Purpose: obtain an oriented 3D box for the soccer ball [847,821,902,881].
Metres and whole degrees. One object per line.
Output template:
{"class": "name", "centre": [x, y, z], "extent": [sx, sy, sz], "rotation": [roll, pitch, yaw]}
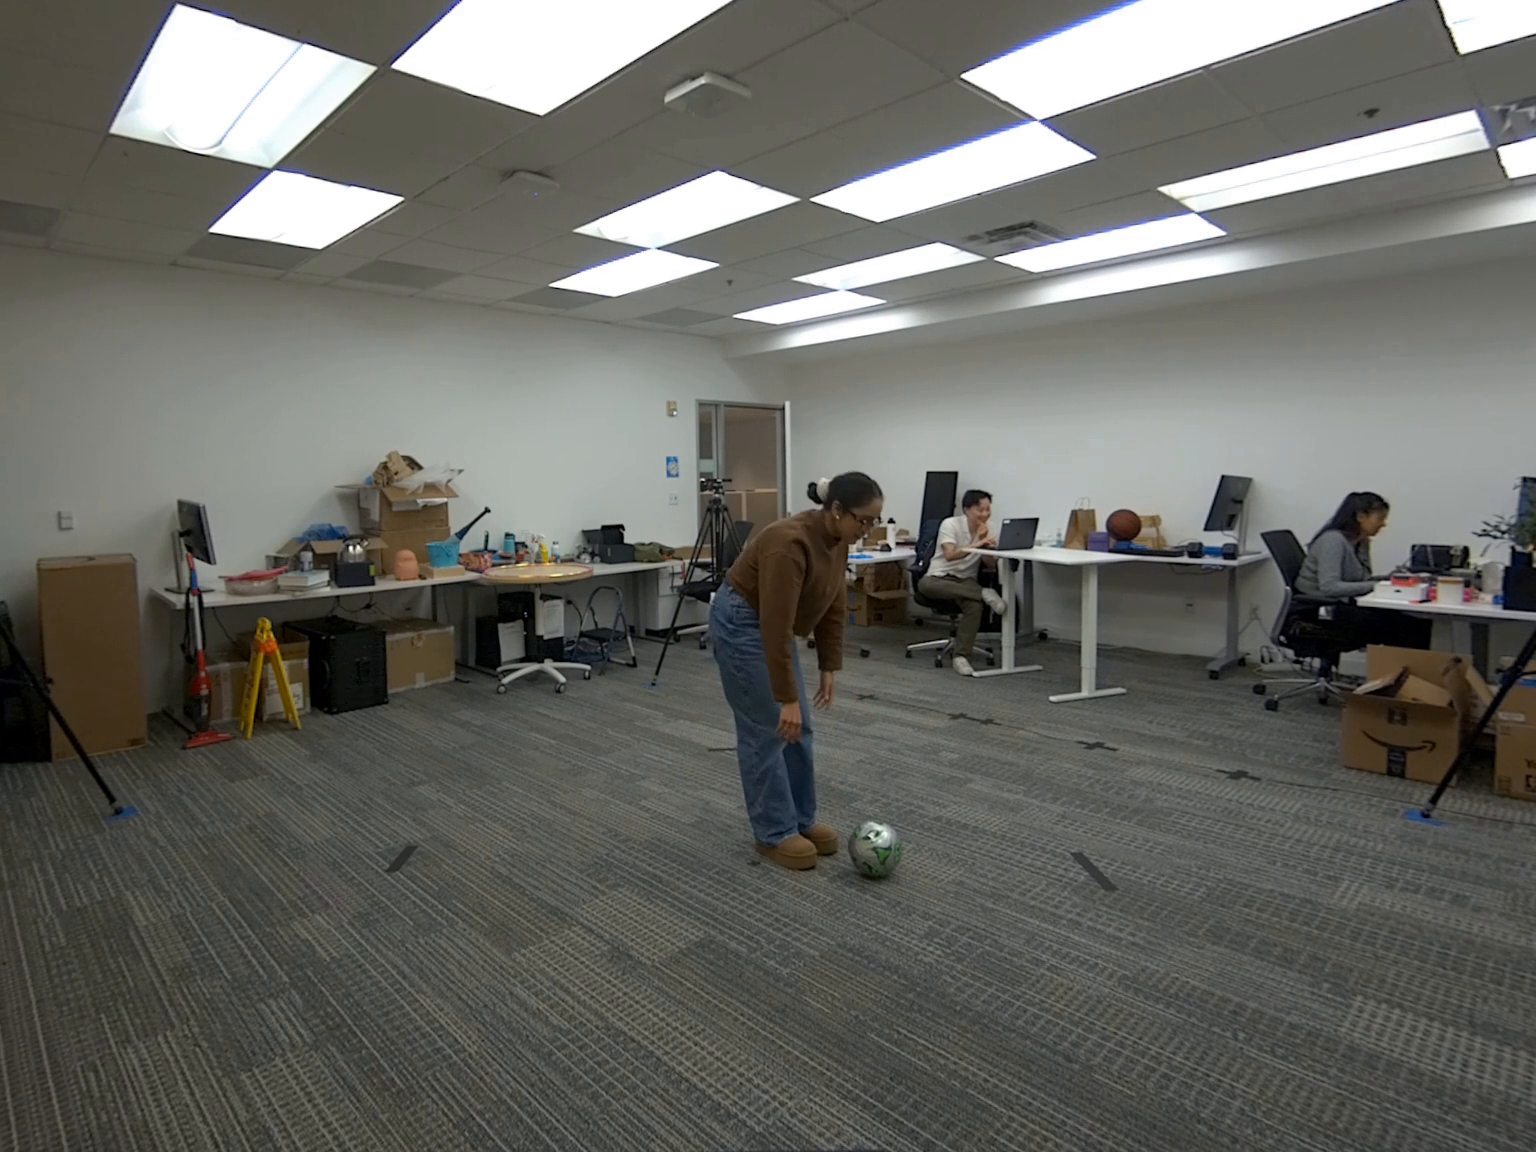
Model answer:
{"class": "soccer ball", "centre": [0.378, 0.958, 3.002], "extent": [0.187, 0.187, 0.188], "rotation": [-1, 5, -2]}
